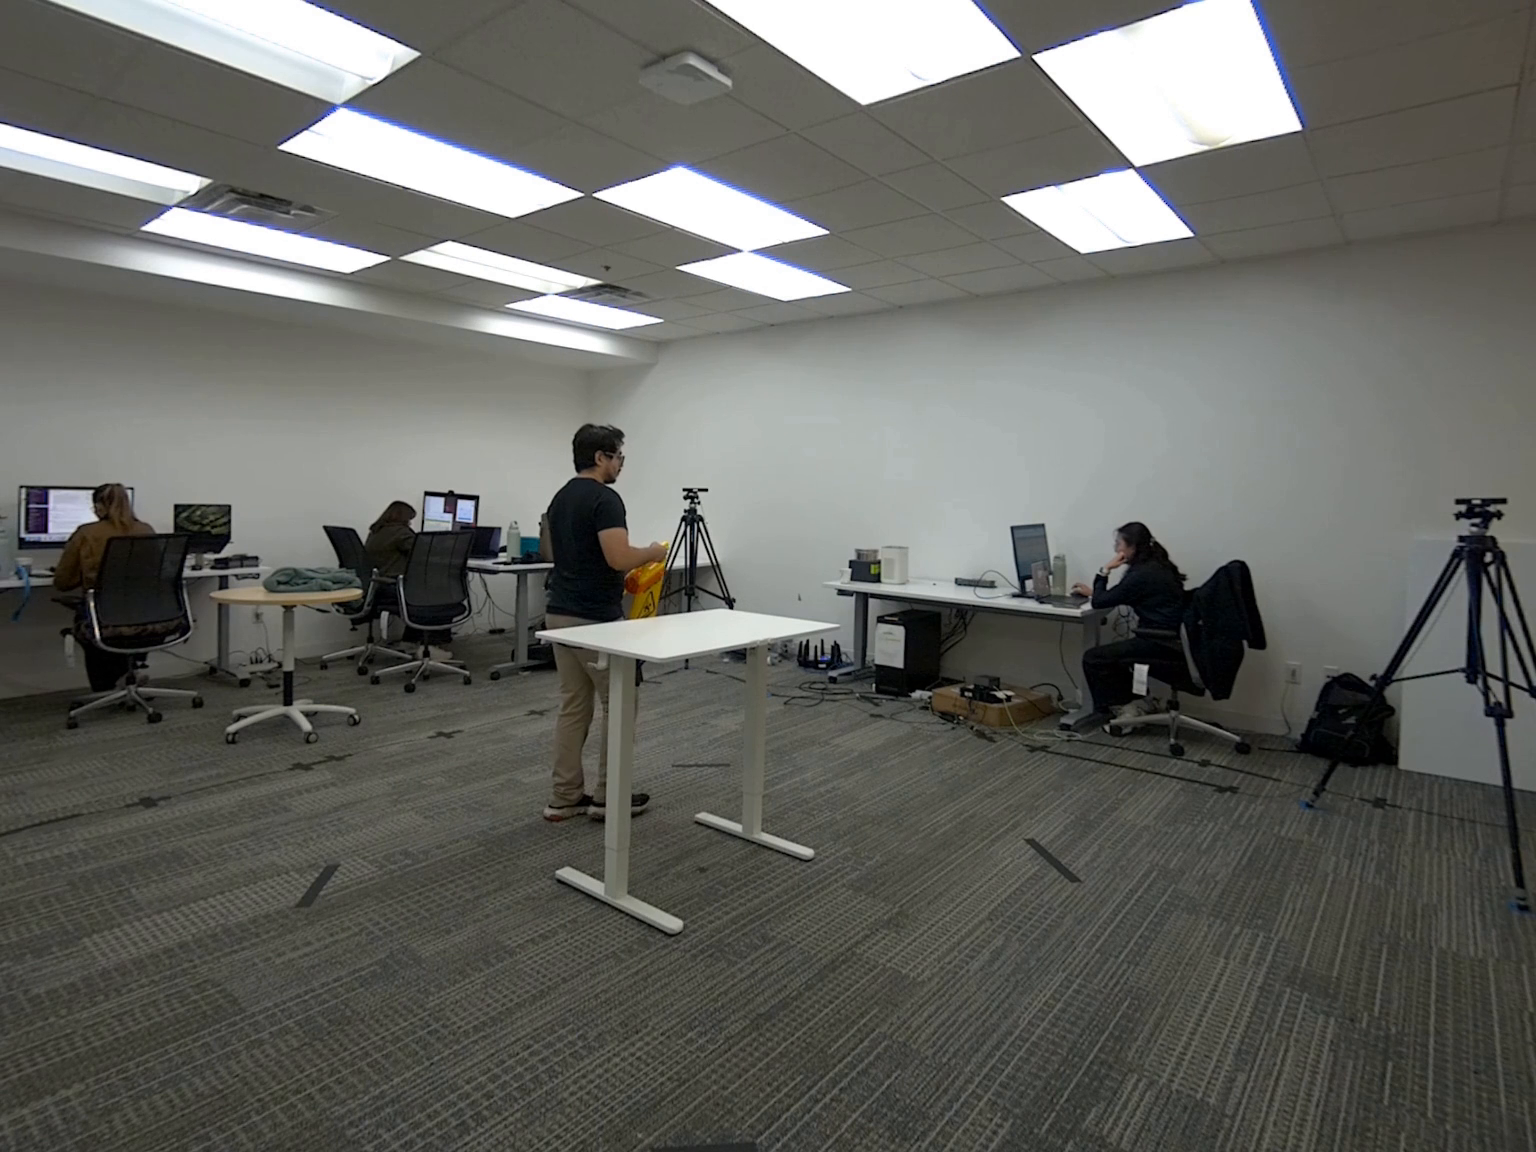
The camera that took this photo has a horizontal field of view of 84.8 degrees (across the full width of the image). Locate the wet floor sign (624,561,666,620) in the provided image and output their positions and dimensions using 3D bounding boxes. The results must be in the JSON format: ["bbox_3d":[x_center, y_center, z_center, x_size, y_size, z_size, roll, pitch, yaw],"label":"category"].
[{"bbox_3d":[-0.627,0.114,3.851,0.294,0.641,0.281,37,35,7],"label":"wet floor sign"}]
